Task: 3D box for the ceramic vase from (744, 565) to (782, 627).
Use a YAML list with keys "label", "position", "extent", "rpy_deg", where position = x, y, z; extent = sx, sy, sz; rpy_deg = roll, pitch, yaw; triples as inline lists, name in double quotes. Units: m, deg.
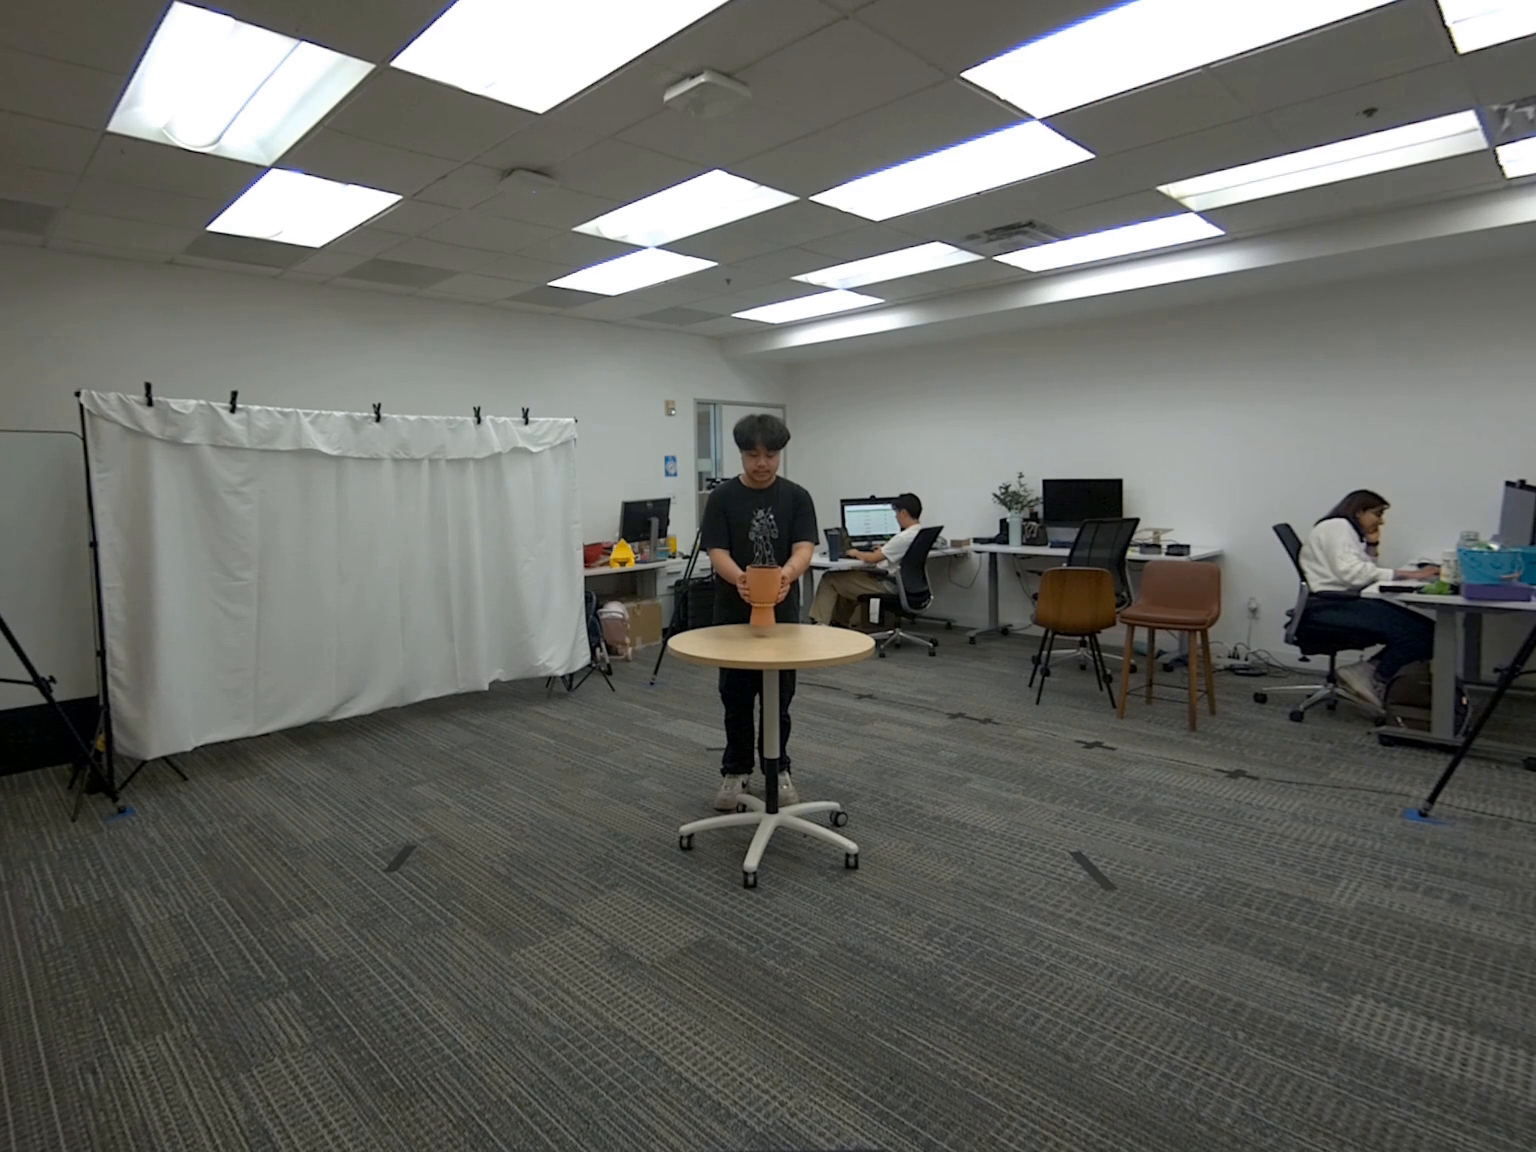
- label: "ceramic vase"
  position: [-0.018, 0.077, 3.246]
  extent: [0.164, 0.219, 0.131]
  rpy_deg: [6, 7, 42]
